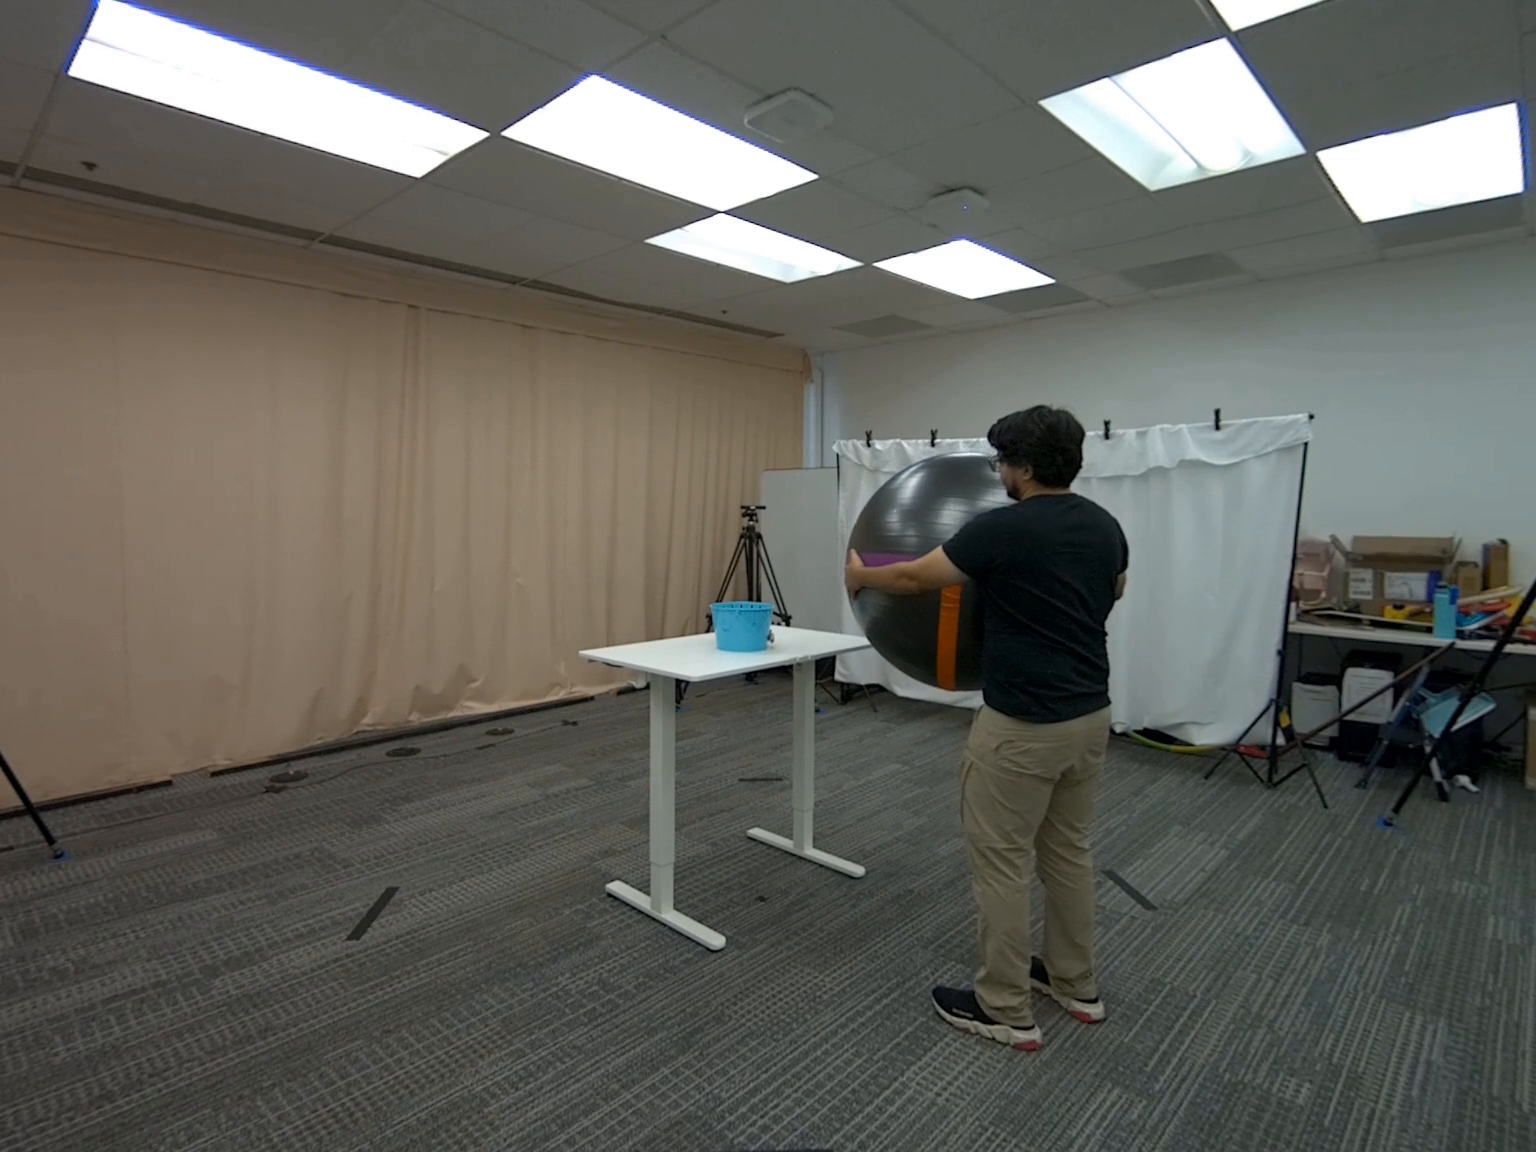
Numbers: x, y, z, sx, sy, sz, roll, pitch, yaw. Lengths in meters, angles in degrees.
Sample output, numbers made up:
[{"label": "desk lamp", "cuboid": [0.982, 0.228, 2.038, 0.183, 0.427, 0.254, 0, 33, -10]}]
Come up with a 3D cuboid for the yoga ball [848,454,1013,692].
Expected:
[{"label": "yoga ball", "cuboid": [0.649, -0.013, 2.711, 0.757, 0.756, 0.760, 0, 4, -2]}]
